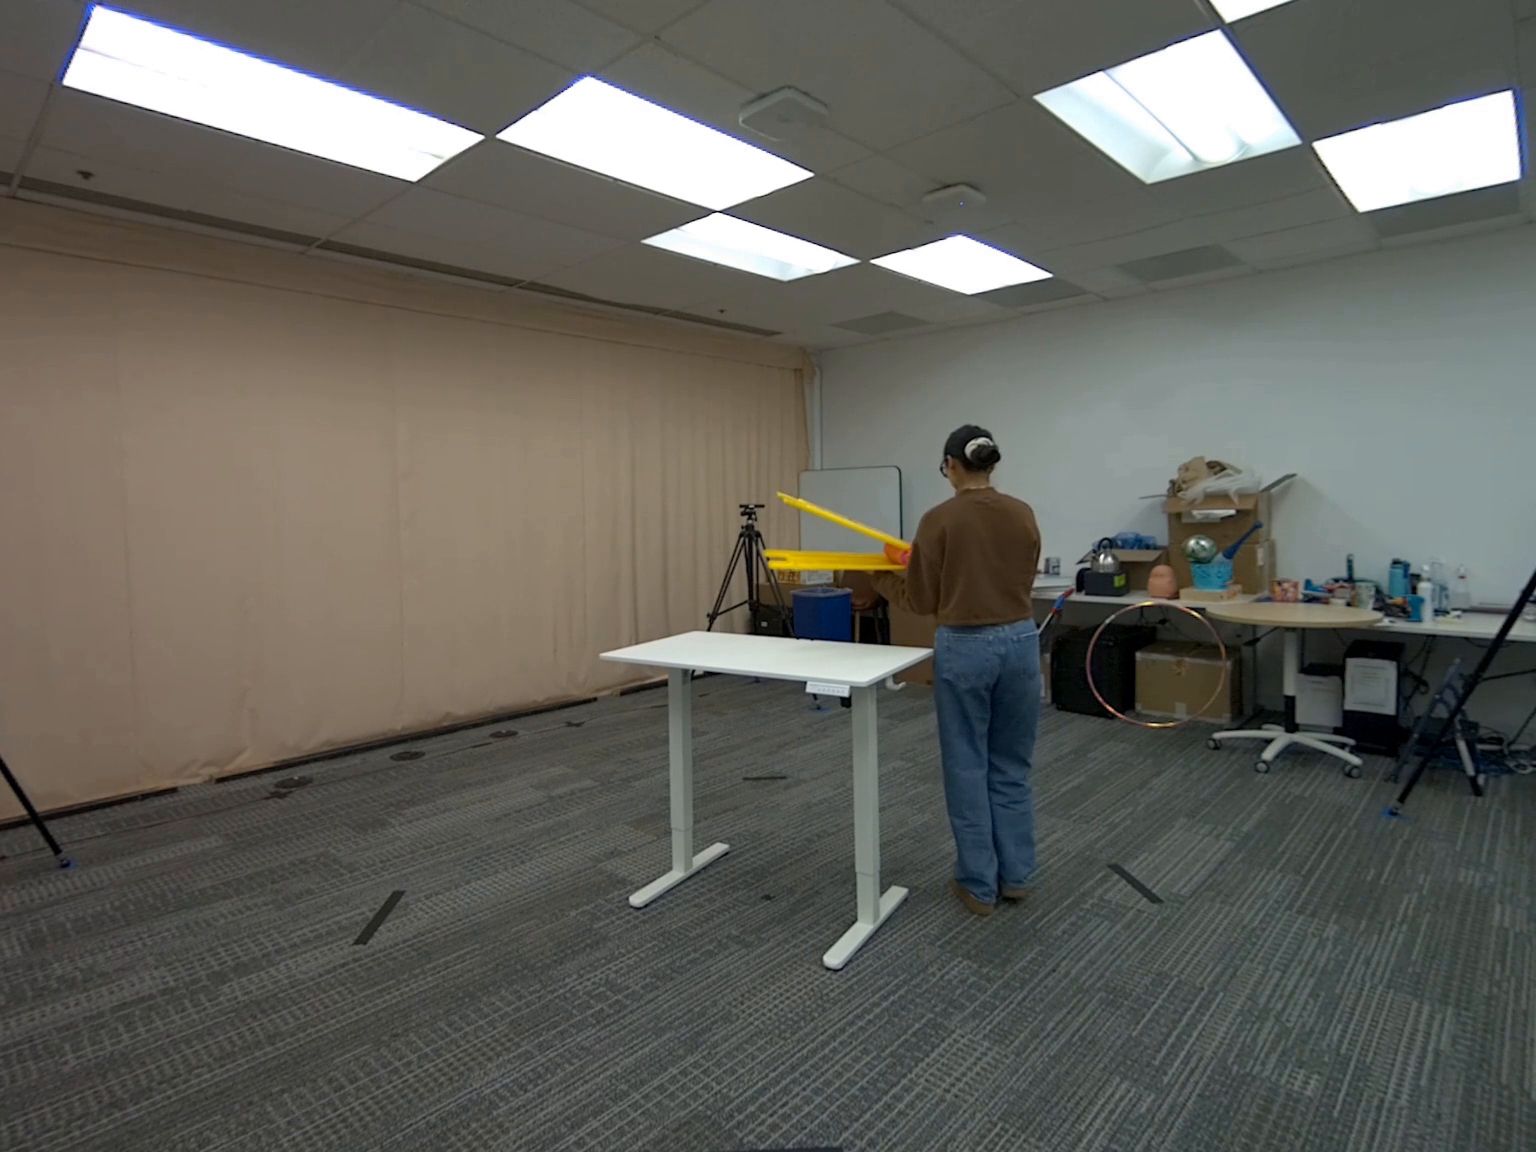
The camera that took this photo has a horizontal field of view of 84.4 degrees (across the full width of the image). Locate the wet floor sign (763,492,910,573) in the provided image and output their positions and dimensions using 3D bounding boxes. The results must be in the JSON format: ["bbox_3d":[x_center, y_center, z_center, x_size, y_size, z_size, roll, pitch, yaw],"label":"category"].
[{"bbox_3d":[0.347,-0.111,3.131,0.640,0.288,0.286,9,11,-9],"label":"wet floor sign"}]
